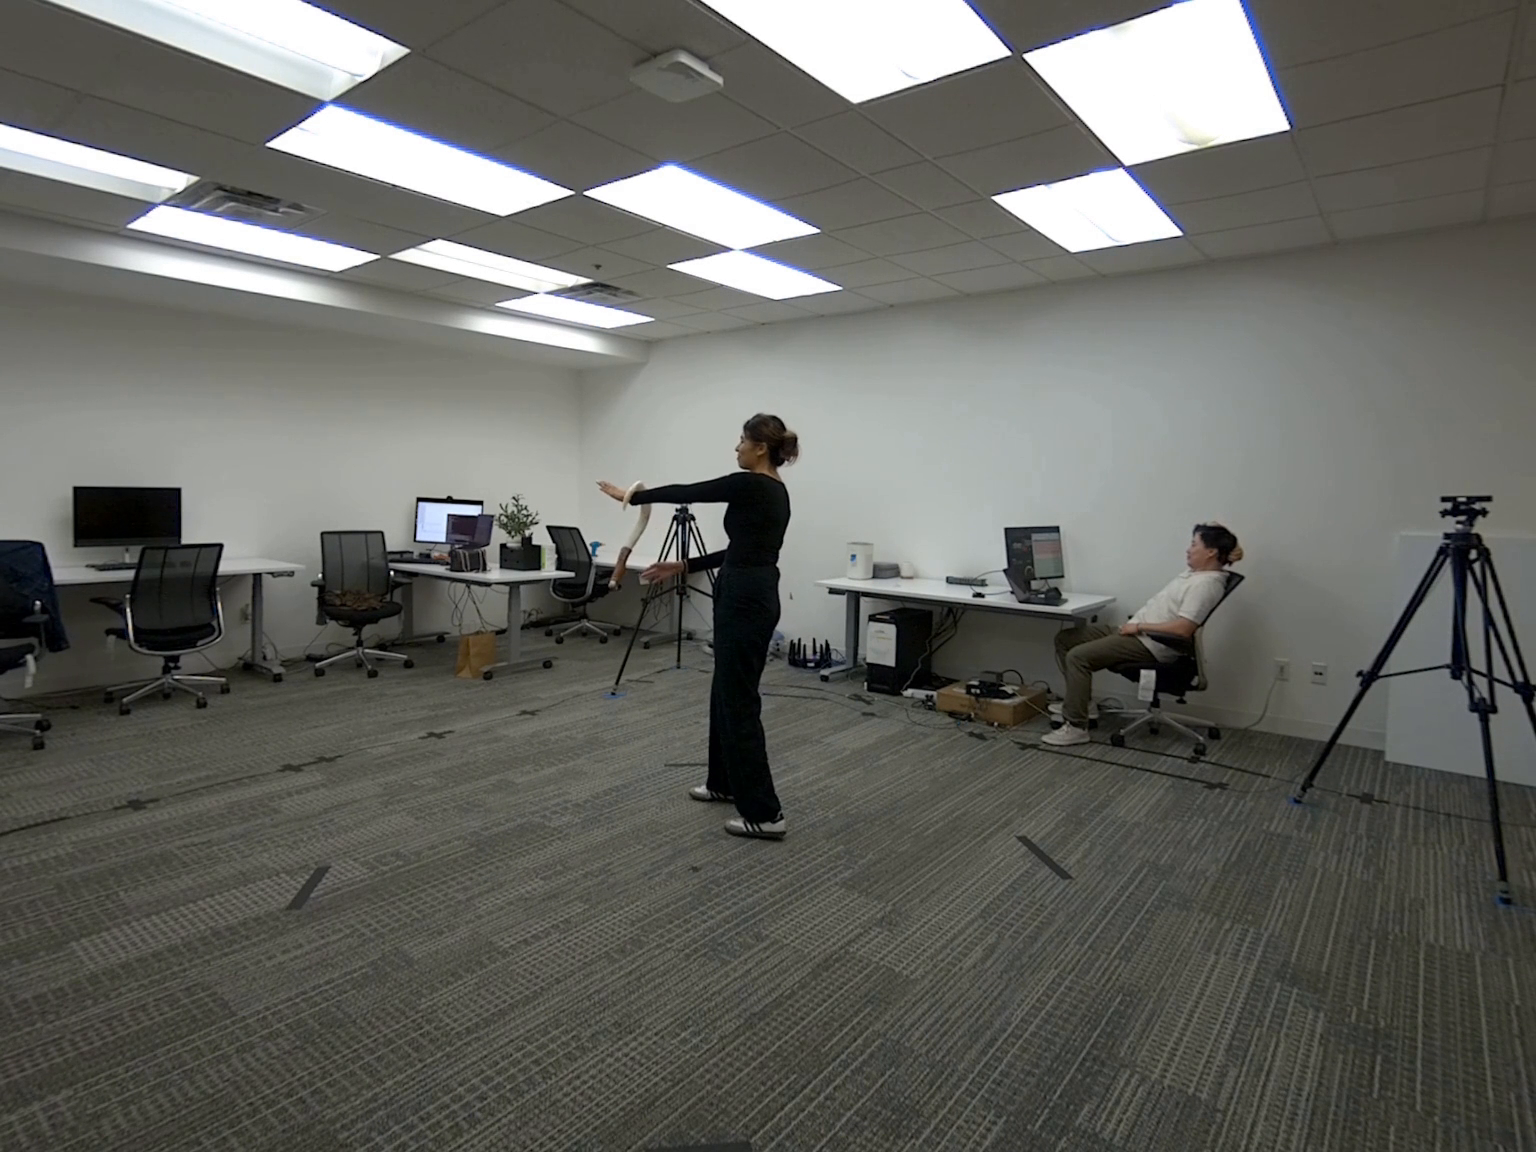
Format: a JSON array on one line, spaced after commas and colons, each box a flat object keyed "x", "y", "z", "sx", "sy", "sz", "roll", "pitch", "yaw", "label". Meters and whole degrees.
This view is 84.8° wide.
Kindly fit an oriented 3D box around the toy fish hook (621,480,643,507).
[{"x": -0.602, "y": -0.182, "z": 3.590, "sx": 0.049, "sy": 0.515, "sz": 0.215, "roll": -2, "pitch": -37, "yaw": 23, "label": "toy fish hook"}]
